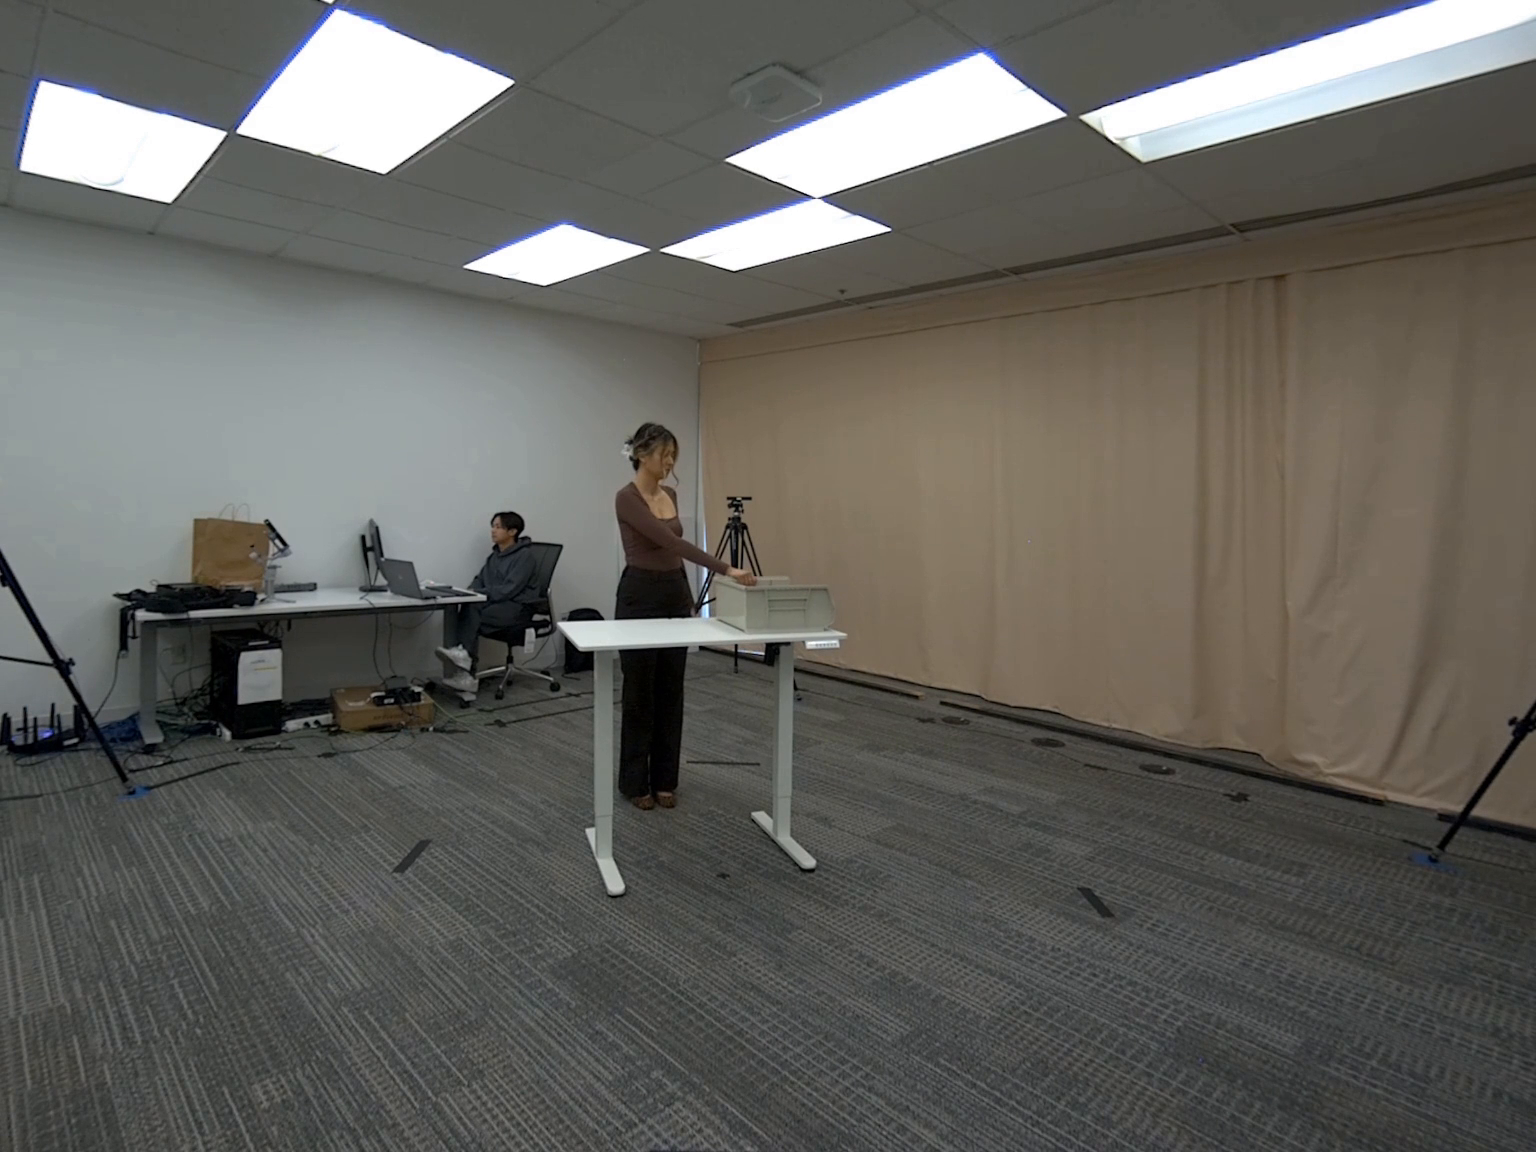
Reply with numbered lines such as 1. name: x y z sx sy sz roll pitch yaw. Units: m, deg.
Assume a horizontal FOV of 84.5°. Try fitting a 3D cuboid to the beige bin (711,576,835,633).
1. beige bin: 0.011 0.111 3.377 0.372 0.188 0.430 -2 6 -19
